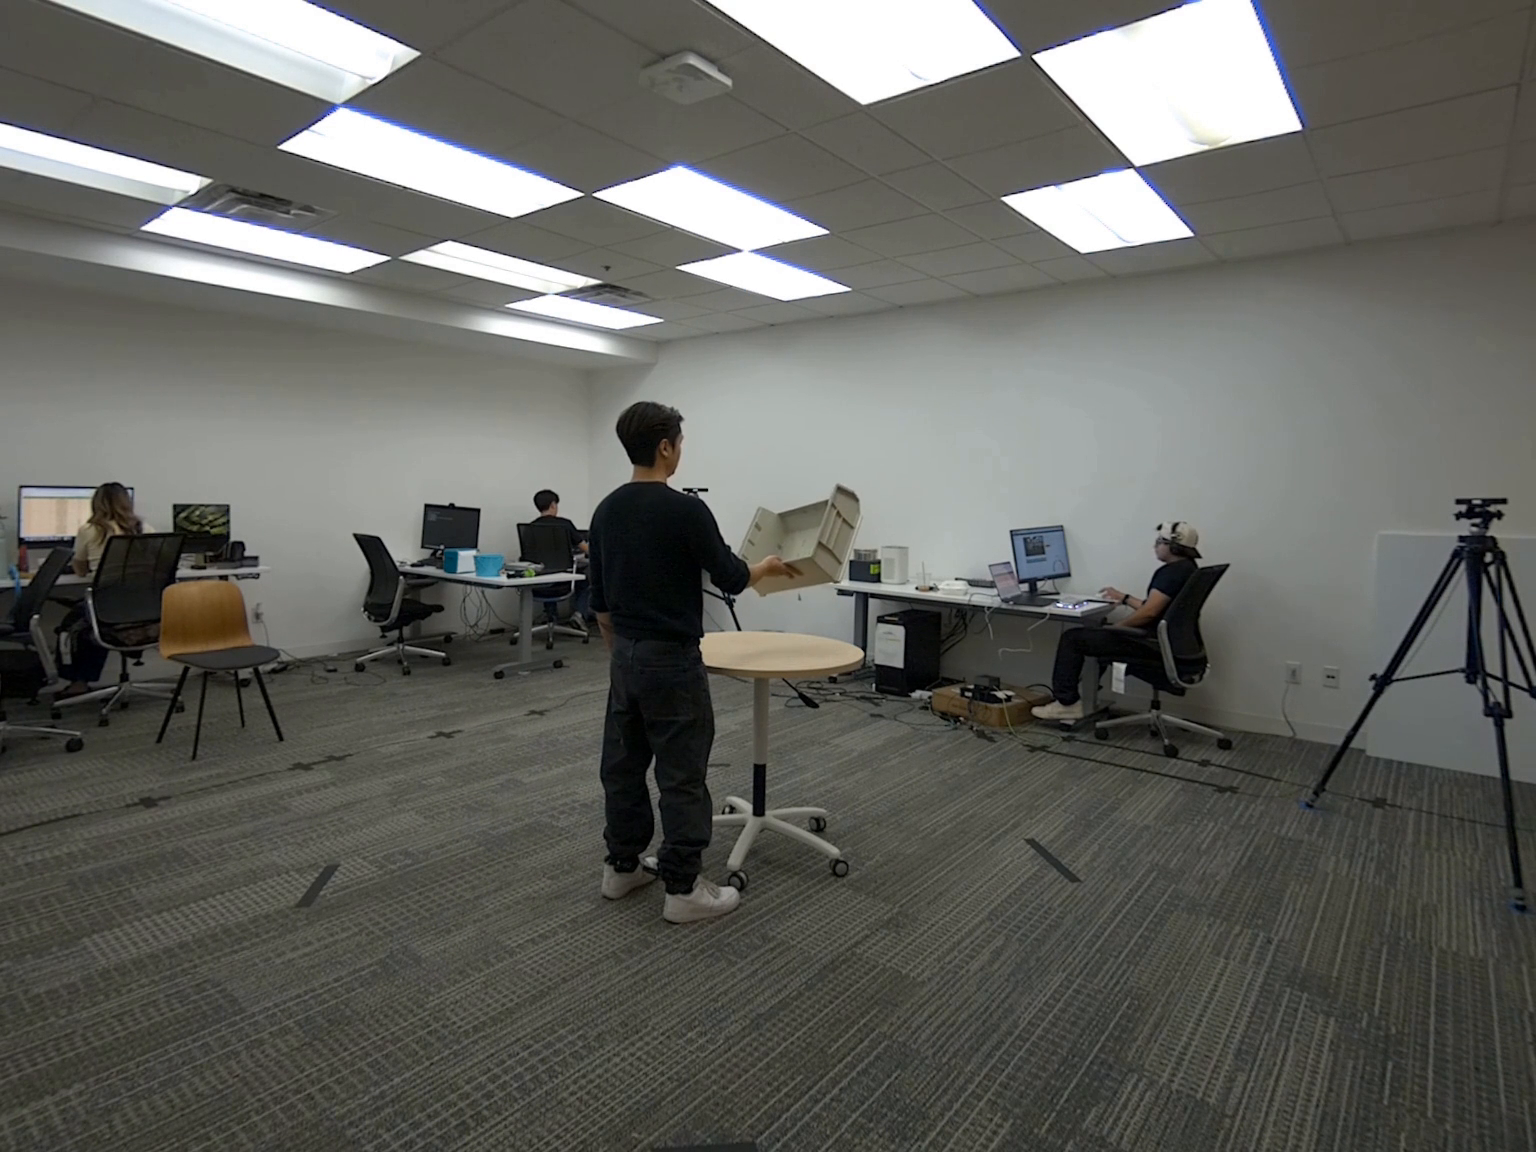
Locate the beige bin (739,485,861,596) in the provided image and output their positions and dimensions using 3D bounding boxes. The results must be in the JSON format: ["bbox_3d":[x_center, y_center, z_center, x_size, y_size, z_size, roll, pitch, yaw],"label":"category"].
[{"bbox_3d":[0.109,-0.138,3.247,0.433,0.382,0.182,-12,-44,44],"label":"beige bin"}]
